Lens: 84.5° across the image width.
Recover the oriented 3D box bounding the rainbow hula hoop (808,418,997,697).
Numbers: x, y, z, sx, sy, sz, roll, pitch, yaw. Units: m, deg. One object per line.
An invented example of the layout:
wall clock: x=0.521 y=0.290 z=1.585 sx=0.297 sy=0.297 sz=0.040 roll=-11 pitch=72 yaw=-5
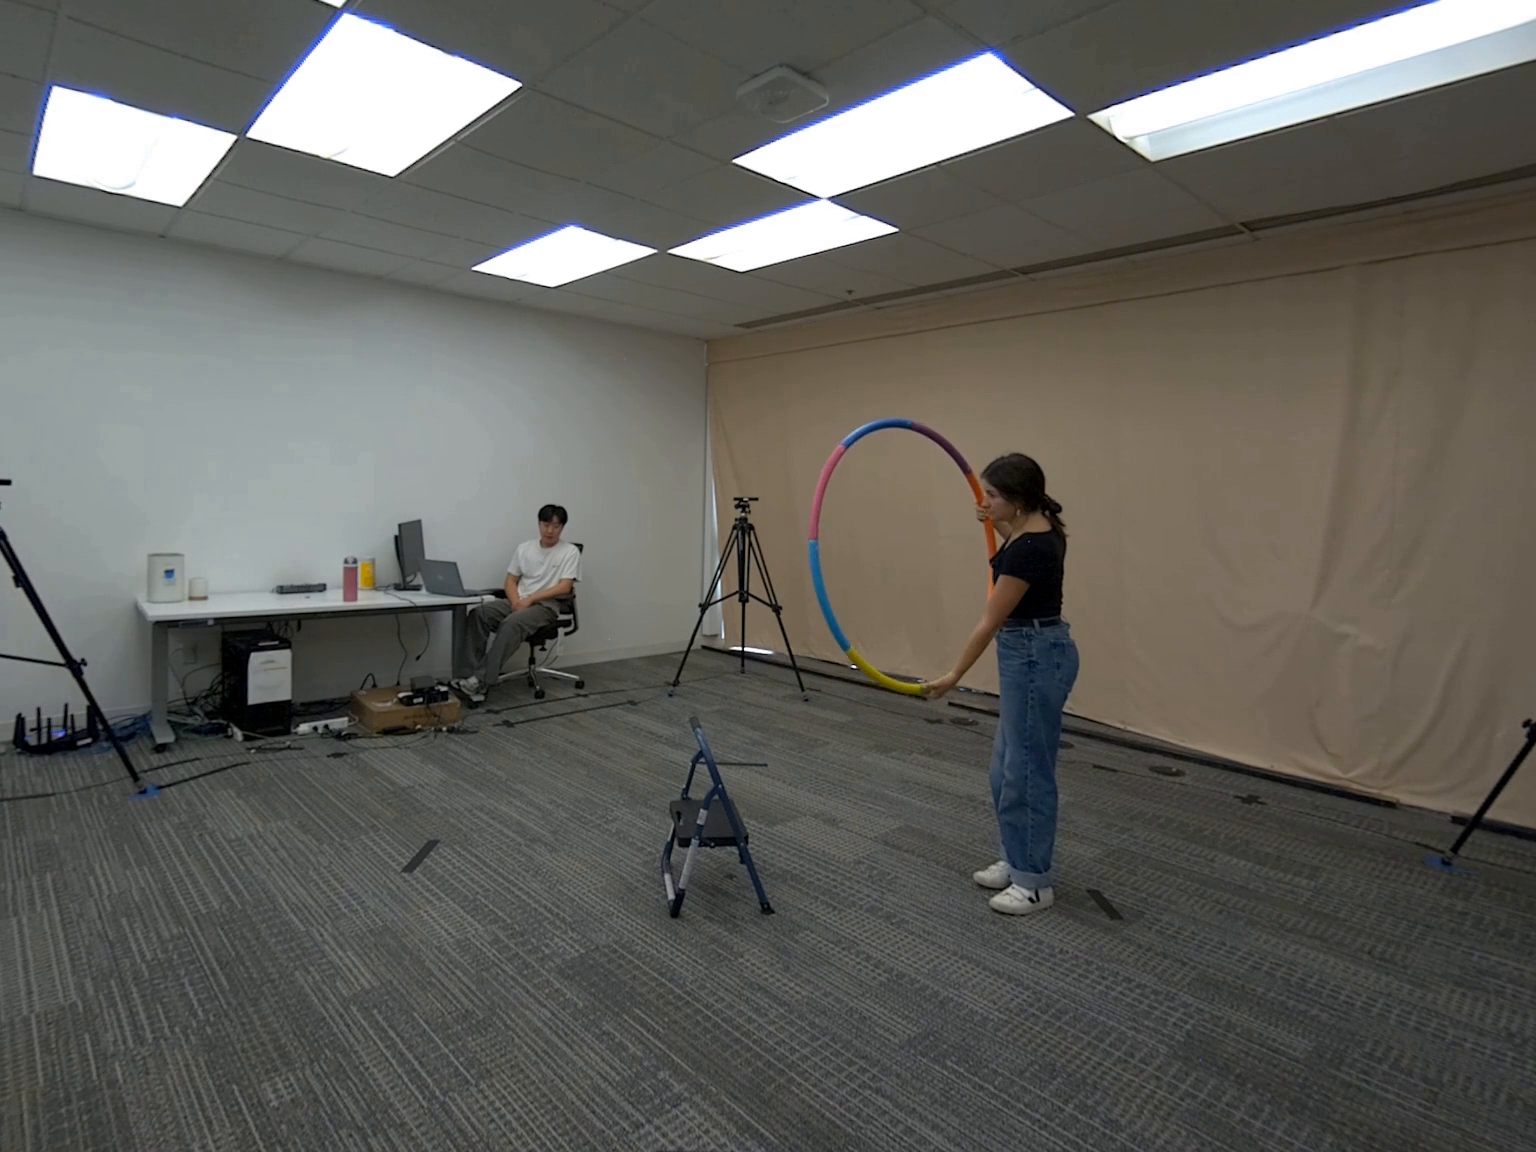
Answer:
rainbow hula hoop: x=0.508 y=-0.080 z=2.986 sx=0.956 sy=0.982 sz=0.036 roll=-2 pitch=-6 yaw=-40
